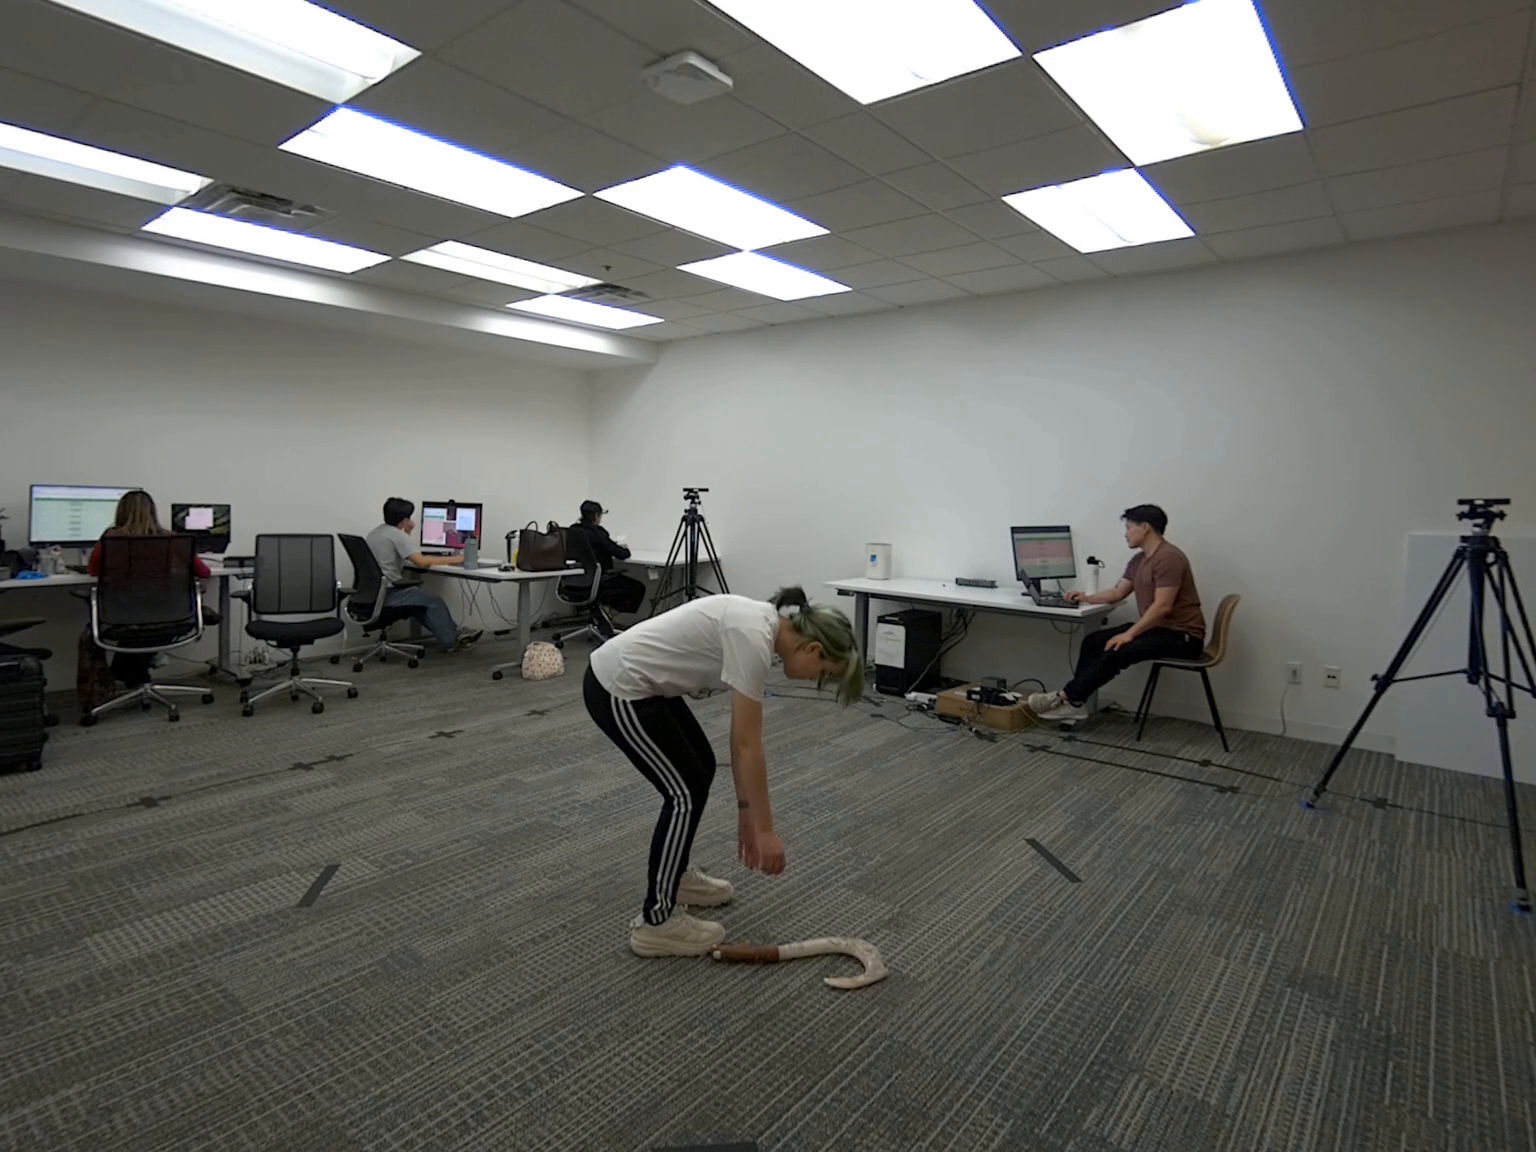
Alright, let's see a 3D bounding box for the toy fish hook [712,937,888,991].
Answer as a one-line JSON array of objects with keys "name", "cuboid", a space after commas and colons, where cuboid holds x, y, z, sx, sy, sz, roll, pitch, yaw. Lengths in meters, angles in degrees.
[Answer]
[{"name": "toy fish hook", "cuboid": [0.086, 1.122, 2.461, 0.504, 0.048, 0.226, 0, 5, -5]}]
